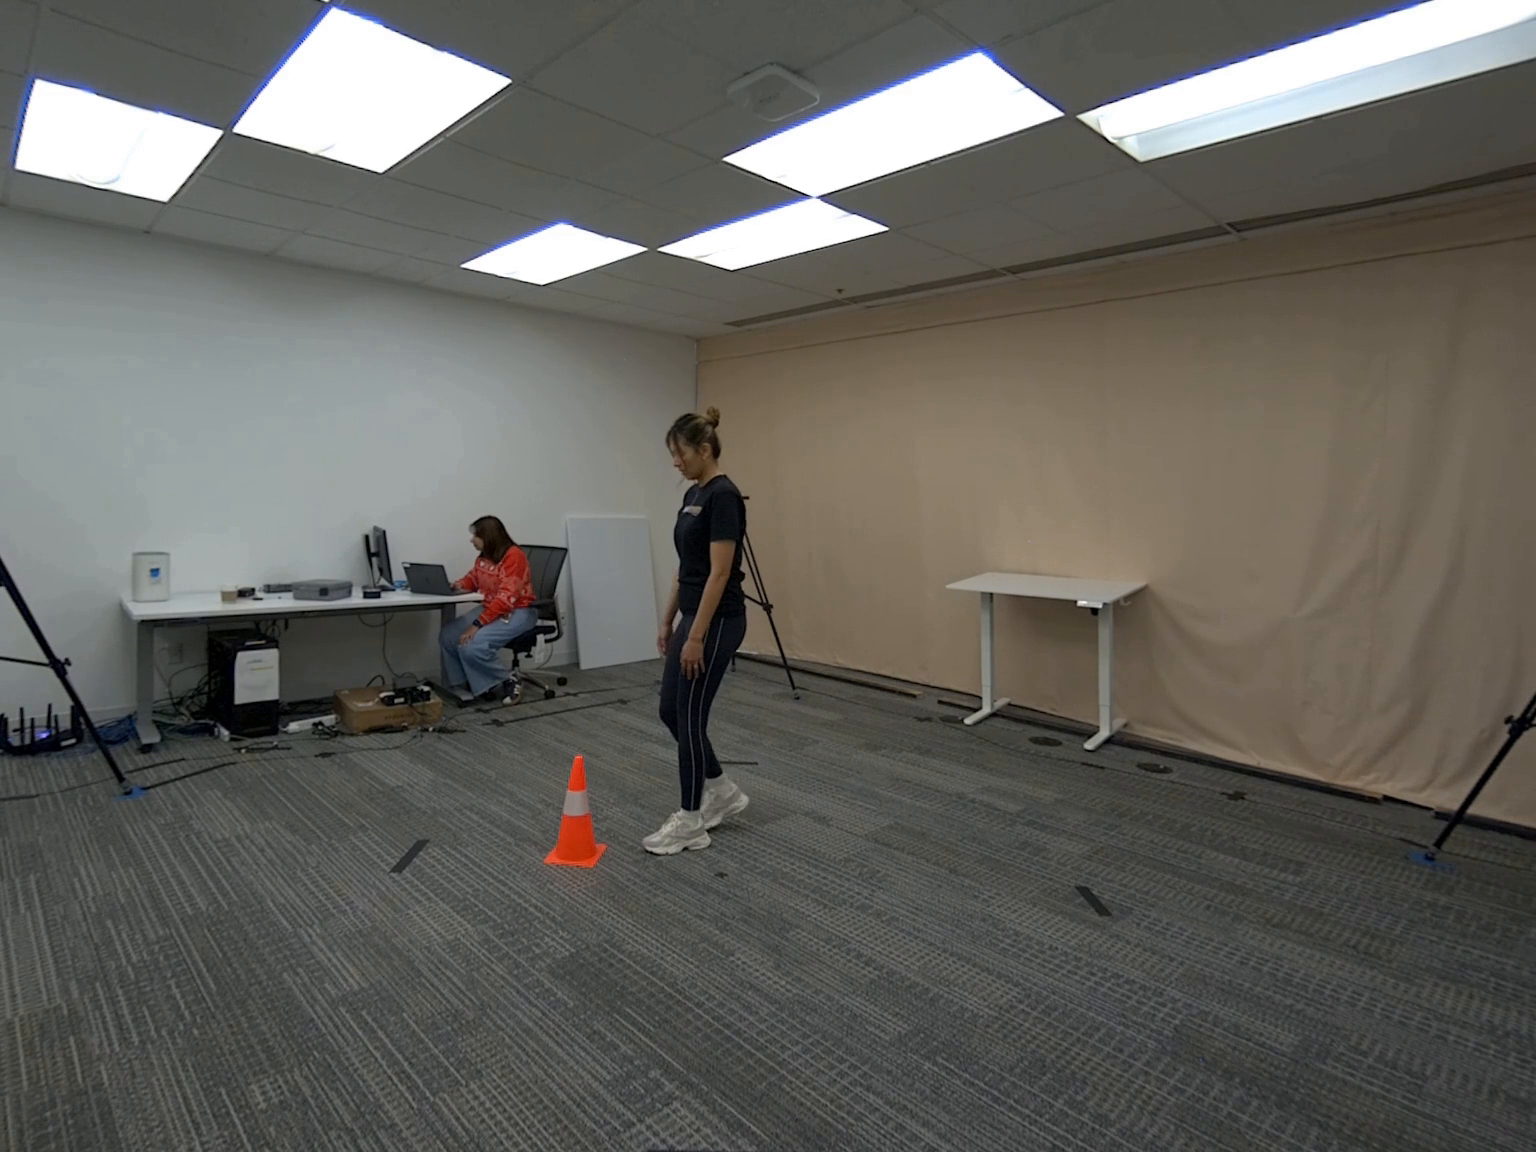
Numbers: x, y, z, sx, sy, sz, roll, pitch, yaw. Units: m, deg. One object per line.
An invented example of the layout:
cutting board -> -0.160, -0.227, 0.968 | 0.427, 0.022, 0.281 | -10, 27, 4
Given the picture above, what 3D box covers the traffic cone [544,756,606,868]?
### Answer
traffic cone -> -0.744, 0.890, 3.251 | 0.205, 0.383, 0.204 | 4, 3, 9
